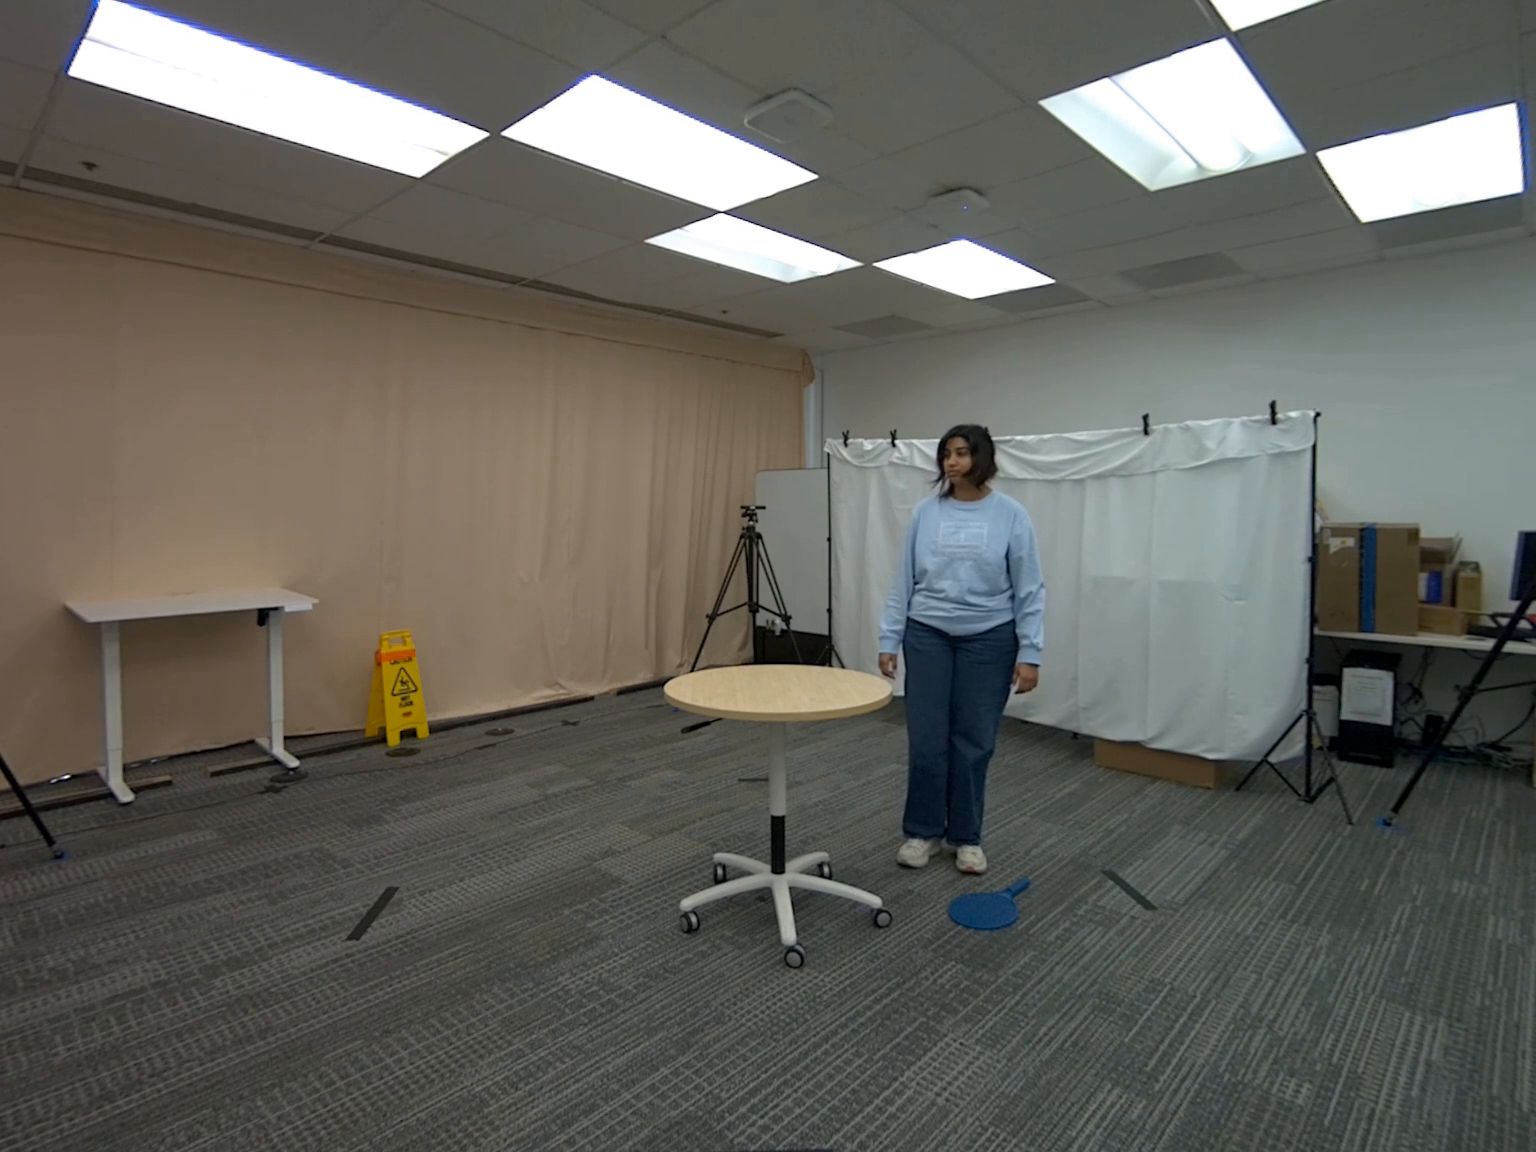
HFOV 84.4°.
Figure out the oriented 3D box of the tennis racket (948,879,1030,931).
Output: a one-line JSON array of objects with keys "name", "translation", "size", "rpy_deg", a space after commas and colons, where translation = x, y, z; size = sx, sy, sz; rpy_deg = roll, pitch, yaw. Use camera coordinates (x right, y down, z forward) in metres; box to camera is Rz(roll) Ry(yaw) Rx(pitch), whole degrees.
[{"name": "tennis racket", "translation": [0.783, 1.126, 2.932], "size": [0.221, 0.031, 0.420], "rpy_deg": [6, 9, 44]}]
